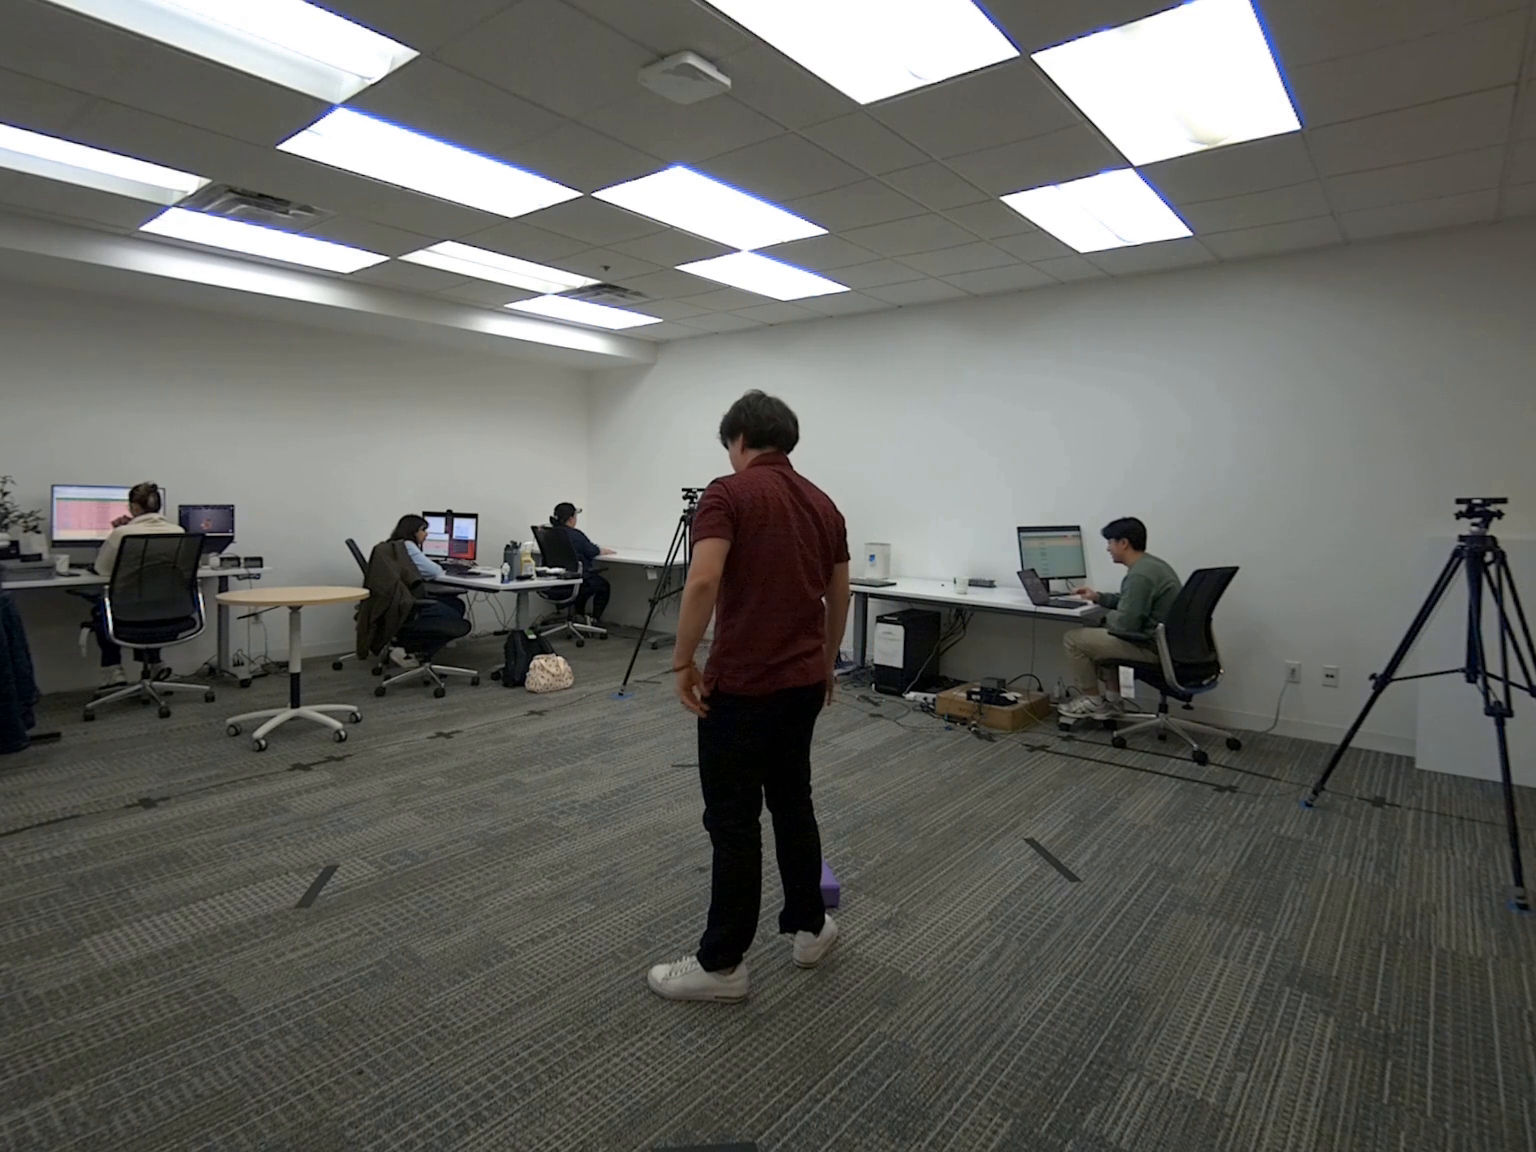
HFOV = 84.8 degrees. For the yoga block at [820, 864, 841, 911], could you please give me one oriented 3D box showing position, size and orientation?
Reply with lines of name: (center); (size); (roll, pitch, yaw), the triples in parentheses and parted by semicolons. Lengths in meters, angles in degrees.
yoga block: (0.143, 1.053, 2.936); (0.148, 0.076, 0.232); (-1, 5, -9)
